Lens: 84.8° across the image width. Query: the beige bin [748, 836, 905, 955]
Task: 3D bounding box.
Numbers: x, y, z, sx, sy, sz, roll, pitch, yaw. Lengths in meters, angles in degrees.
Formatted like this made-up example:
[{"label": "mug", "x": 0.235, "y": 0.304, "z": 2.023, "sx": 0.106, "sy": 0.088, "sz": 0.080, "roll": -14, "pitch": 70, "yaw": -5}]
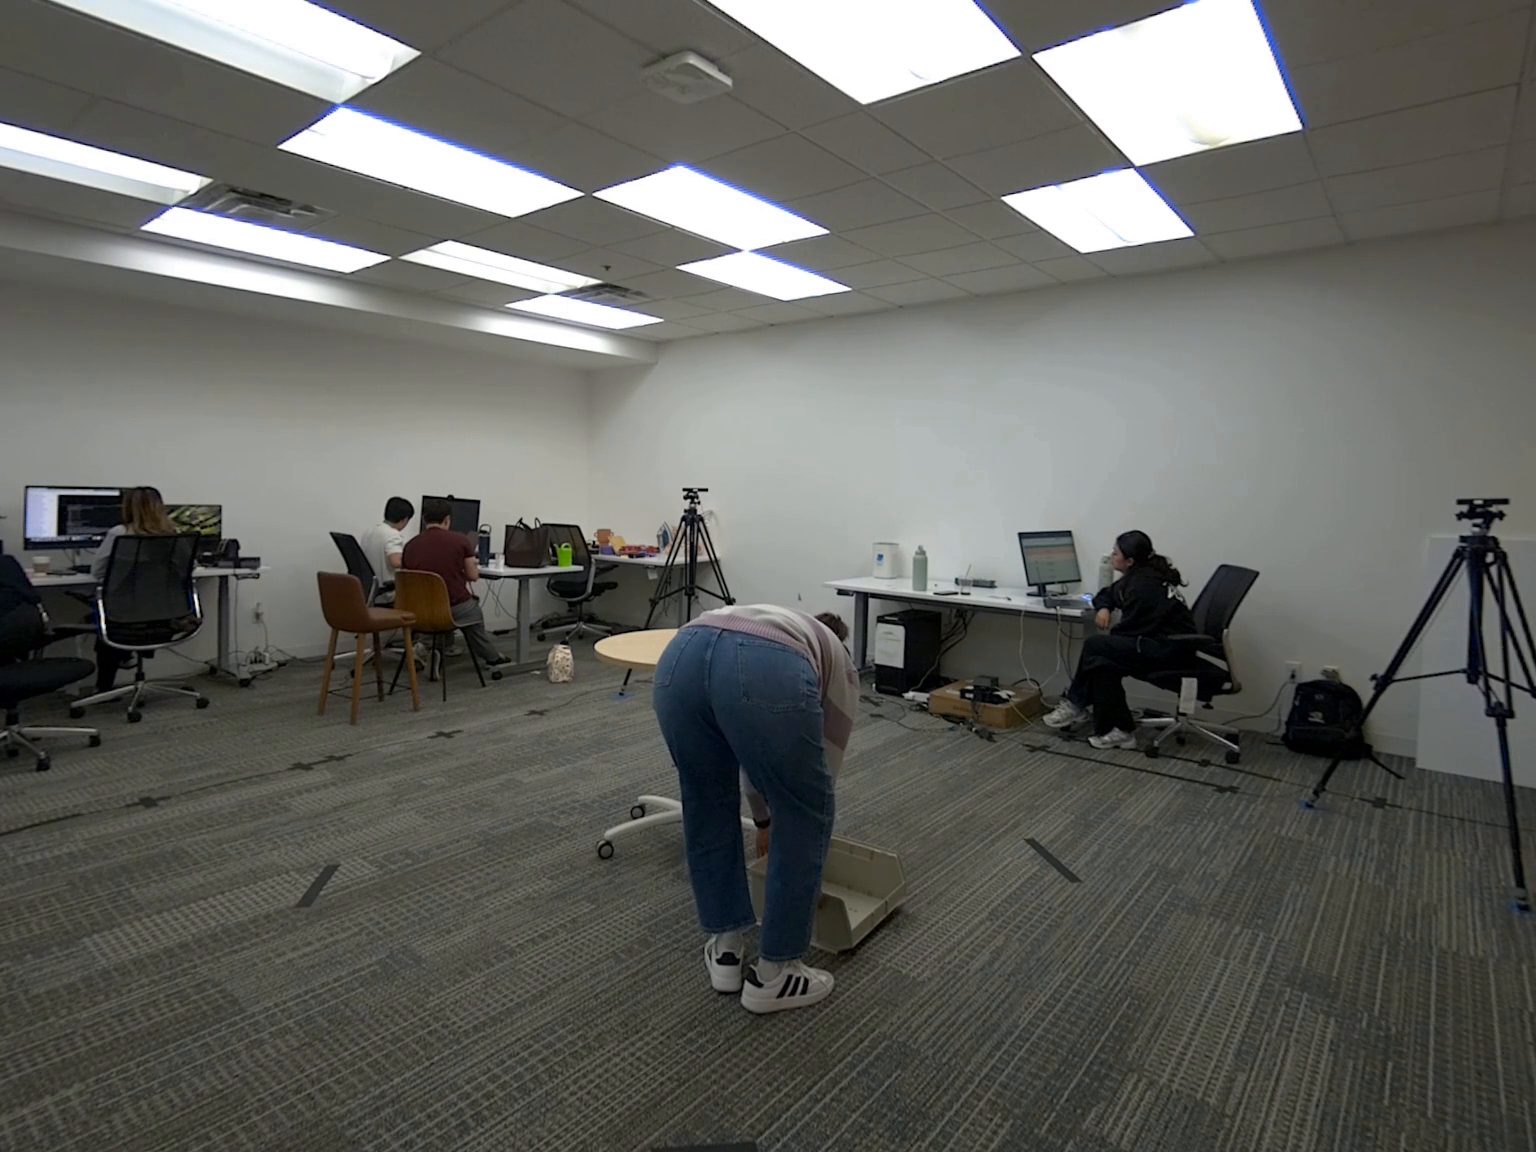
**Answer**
[{"label": "beige bin", "x": 0.193, "y": 1.017, "z": 2.788, "sx": 0.389, "sy": 0.188, "sz": 0.411, "roll": 3, "pitch": 5, "yaw": 34}]
